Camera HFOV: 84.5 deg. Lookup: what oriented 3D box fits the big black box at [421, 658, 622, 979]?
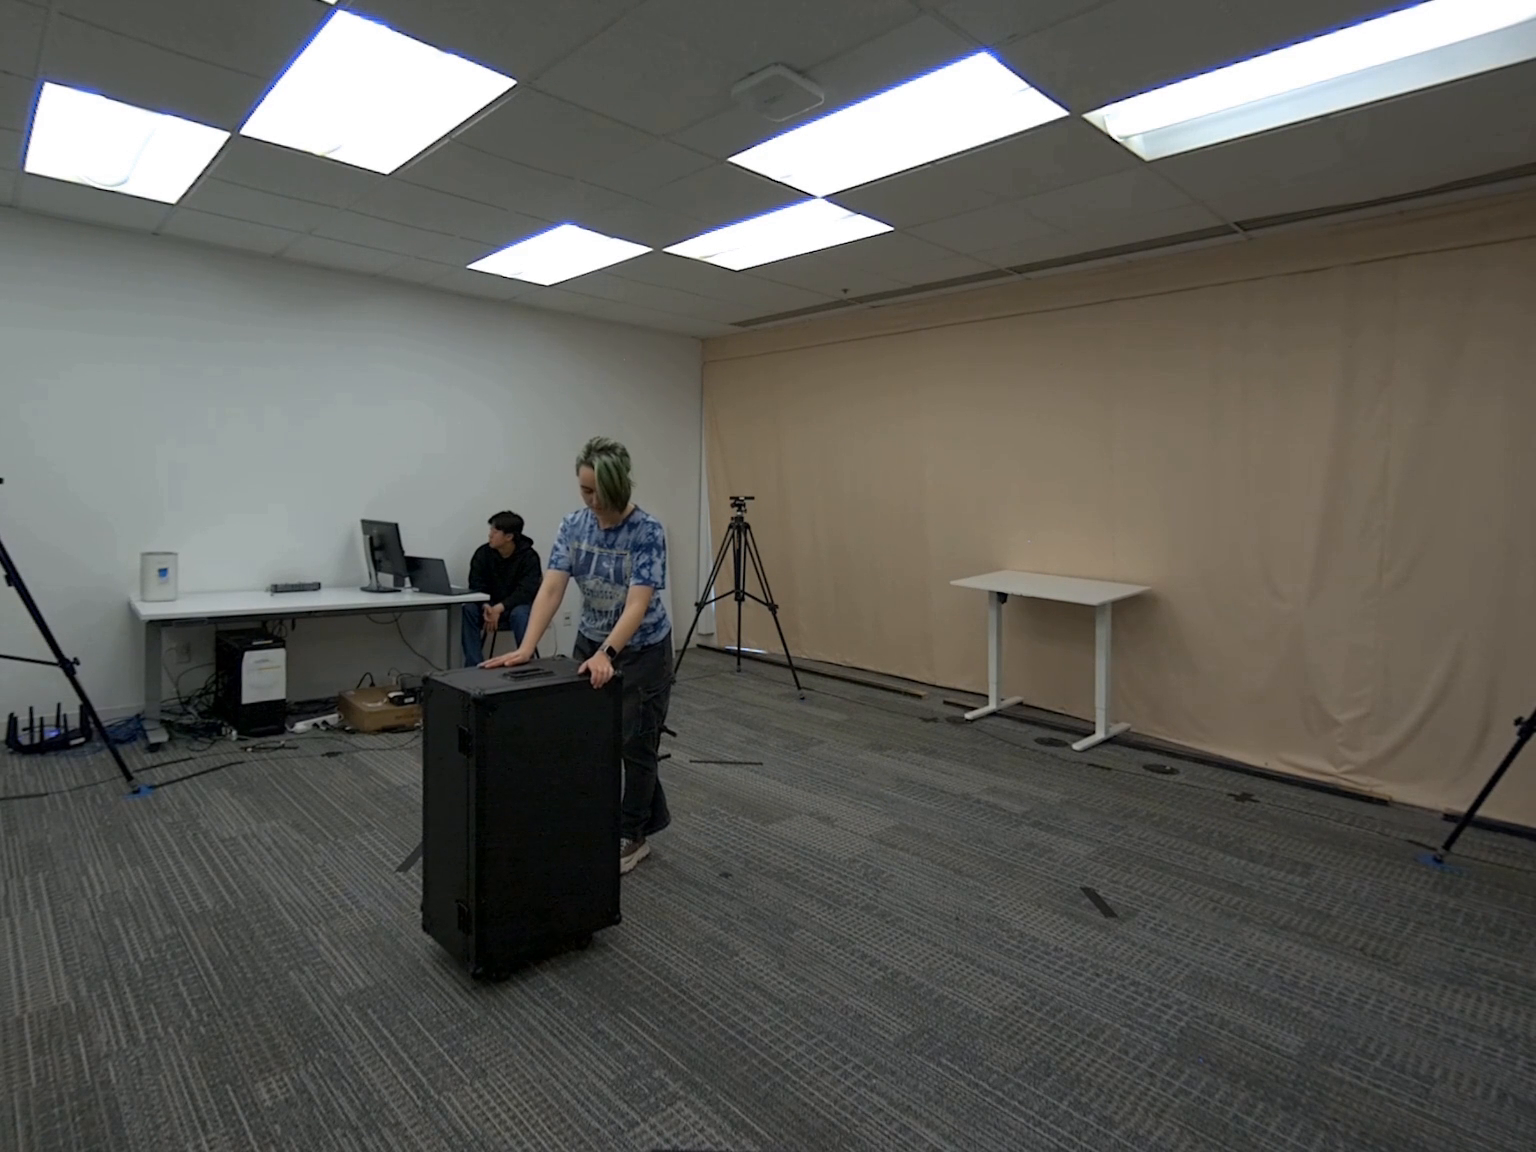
[{"bbox_3d":[-0.759,0.717,2.550,0.509,0.860,0.406,-2,4,-44],"label":"big black box"}]
